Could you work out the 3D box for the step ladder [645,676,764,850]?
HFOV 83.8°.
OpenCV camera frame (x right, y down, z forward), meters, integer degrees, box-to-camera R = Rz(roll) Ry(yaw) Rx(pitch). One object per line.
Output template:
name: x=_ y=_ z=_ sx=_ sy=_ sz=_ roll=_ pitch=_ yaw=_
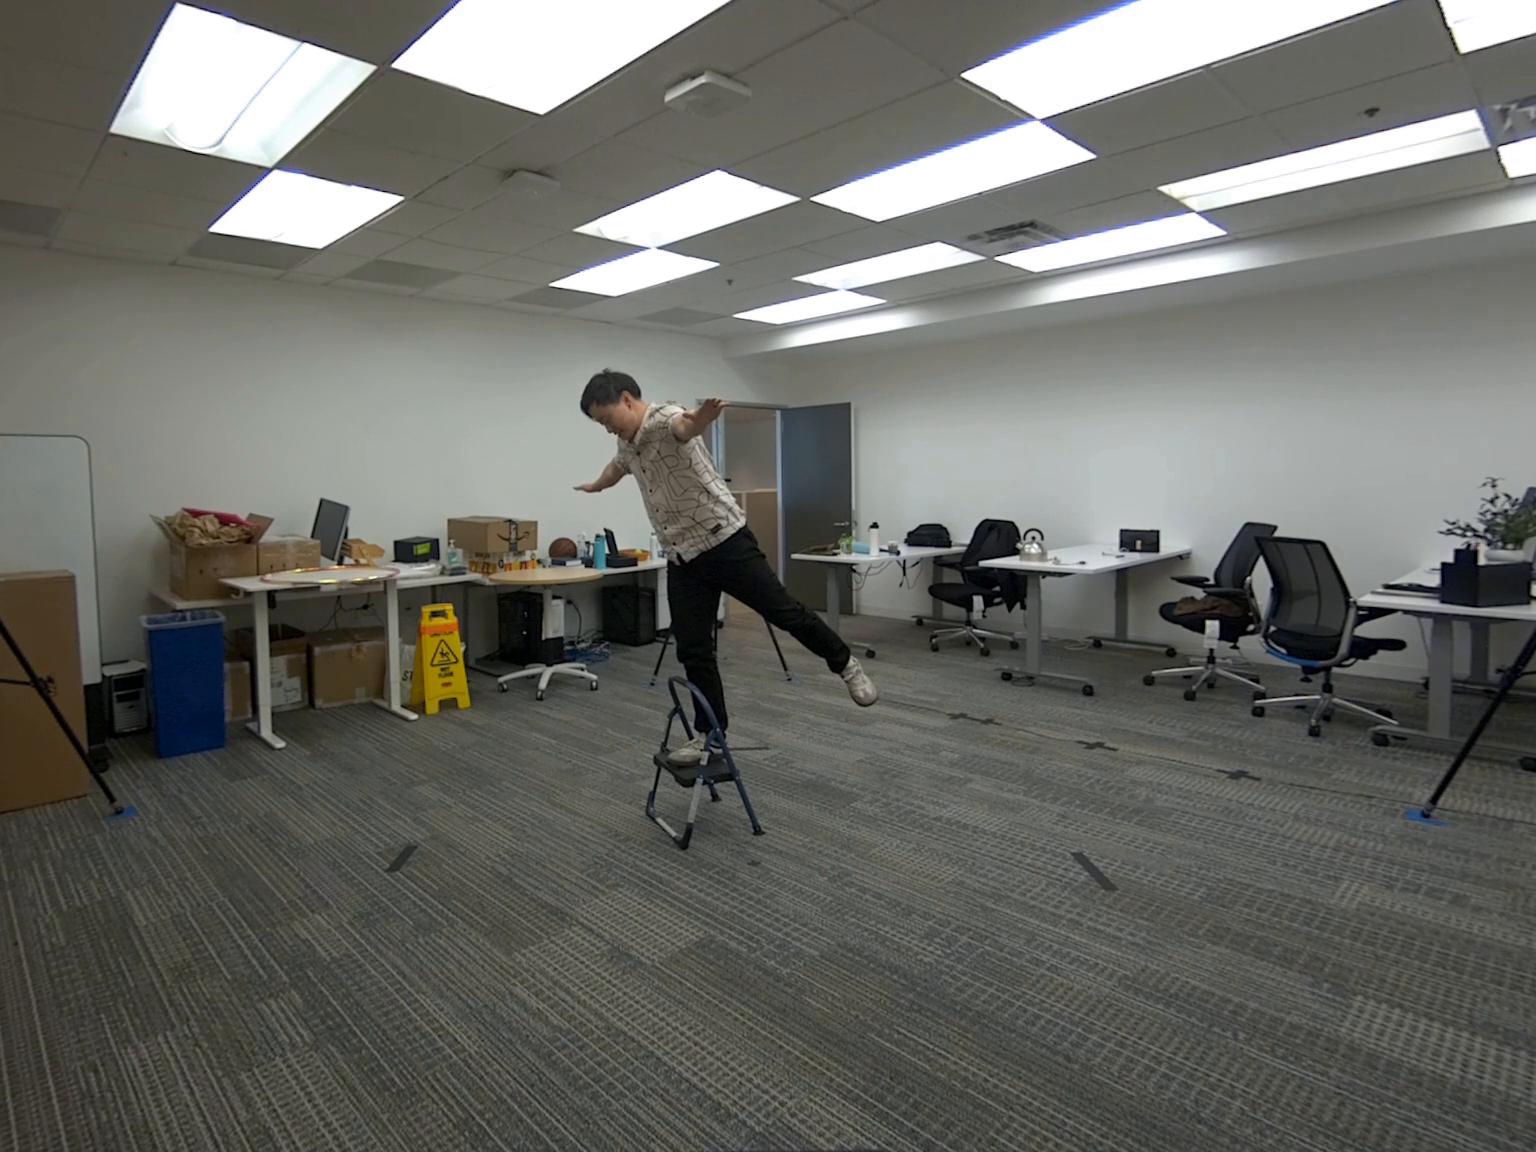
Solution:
step ladder: x=-0.271 y=0.705 z=3.461 sx=0.341 sy=0.604 sz=0.442 roll=-3 pitch=4 yaw=-28
